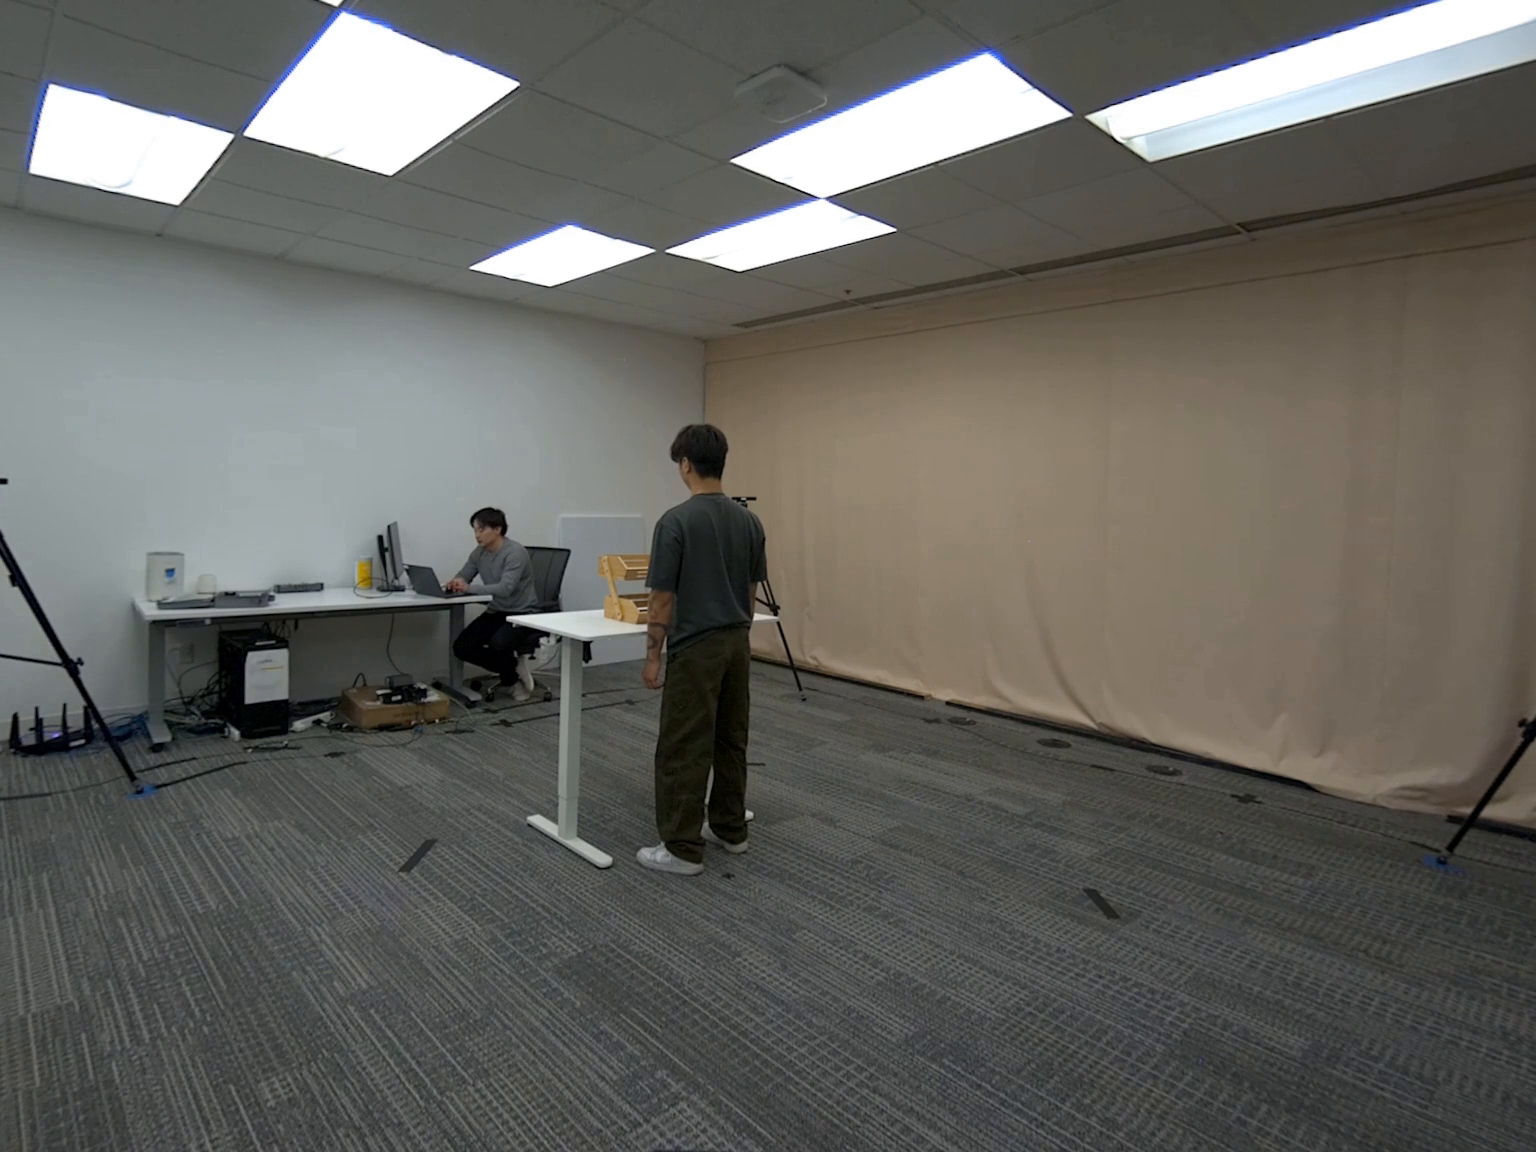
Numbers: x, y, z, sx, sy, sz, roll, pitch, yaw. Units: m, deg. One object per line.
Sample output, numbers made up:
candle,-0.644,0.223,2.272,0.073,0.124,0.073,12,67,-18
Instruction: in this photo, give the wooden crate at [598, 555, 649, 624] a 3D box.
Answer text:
wooden crate,-0.513,0.043,3.546,0.317,0.273,0.309,-1,4,-44
